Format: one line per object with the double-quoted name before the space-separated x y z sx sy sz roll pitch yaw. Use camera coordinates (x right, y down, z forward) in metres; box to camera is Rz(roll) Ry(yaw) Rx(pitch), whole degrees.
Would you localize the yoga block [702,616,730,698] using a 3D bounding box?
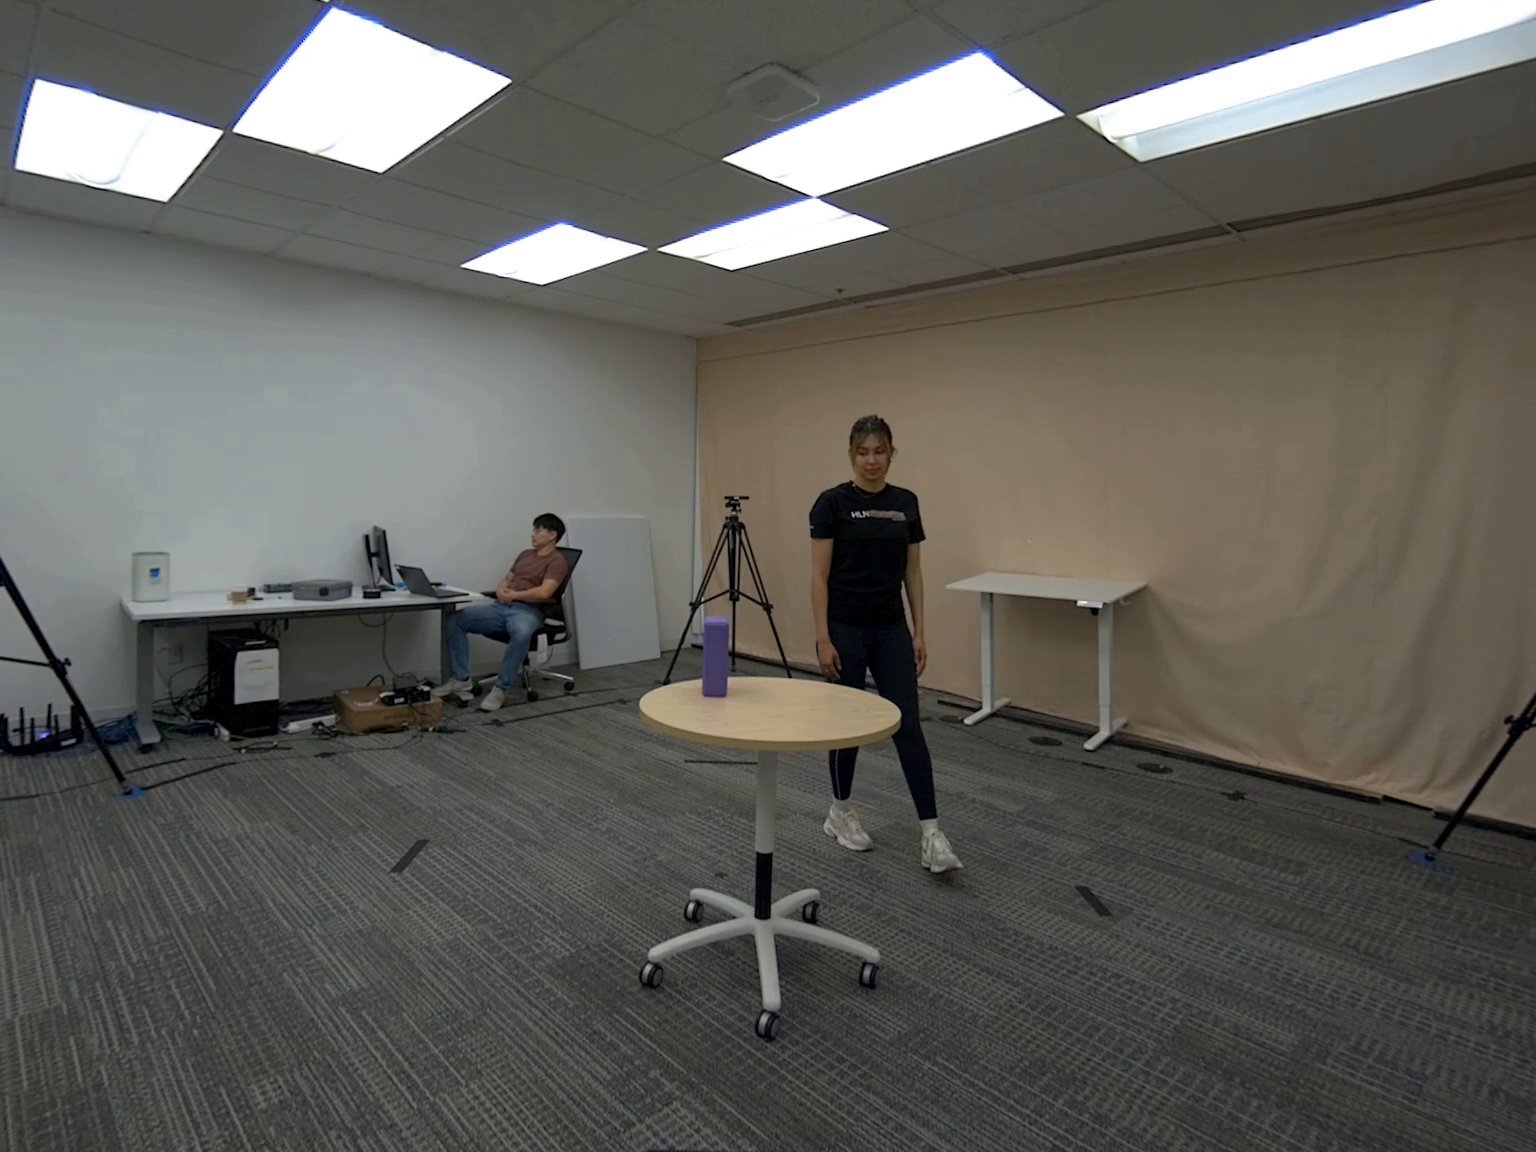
"yoga block" -0.166 0.251 2.617 0.076 0.230 0.148 2 -2 1
